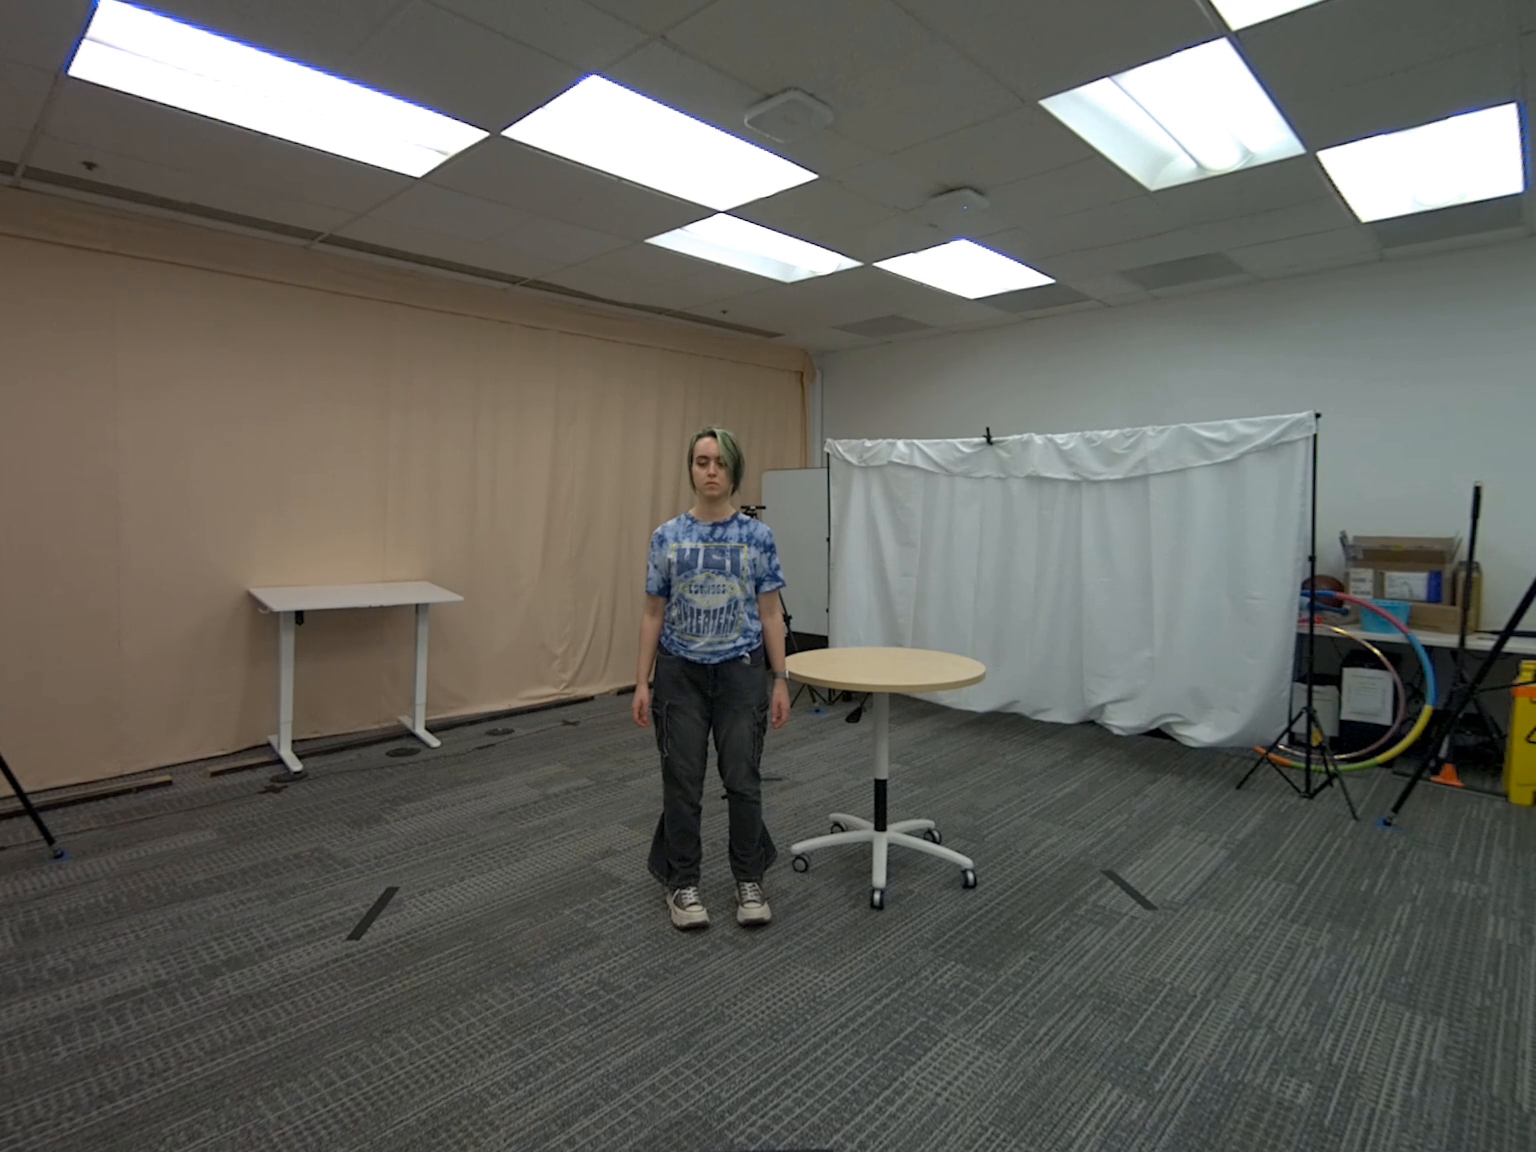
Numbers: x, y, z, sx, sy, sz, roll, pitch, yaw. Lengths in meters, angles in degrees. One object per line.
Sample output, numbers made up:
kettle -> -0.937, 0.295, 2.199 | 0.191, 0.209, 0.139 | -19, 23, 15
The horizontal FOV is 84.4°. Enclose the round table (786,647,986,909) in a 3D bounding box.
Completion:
round table -> 0.435, 0.731, 3.235 | 0.763, 0.792, 0.766 | 0, 3, -2
